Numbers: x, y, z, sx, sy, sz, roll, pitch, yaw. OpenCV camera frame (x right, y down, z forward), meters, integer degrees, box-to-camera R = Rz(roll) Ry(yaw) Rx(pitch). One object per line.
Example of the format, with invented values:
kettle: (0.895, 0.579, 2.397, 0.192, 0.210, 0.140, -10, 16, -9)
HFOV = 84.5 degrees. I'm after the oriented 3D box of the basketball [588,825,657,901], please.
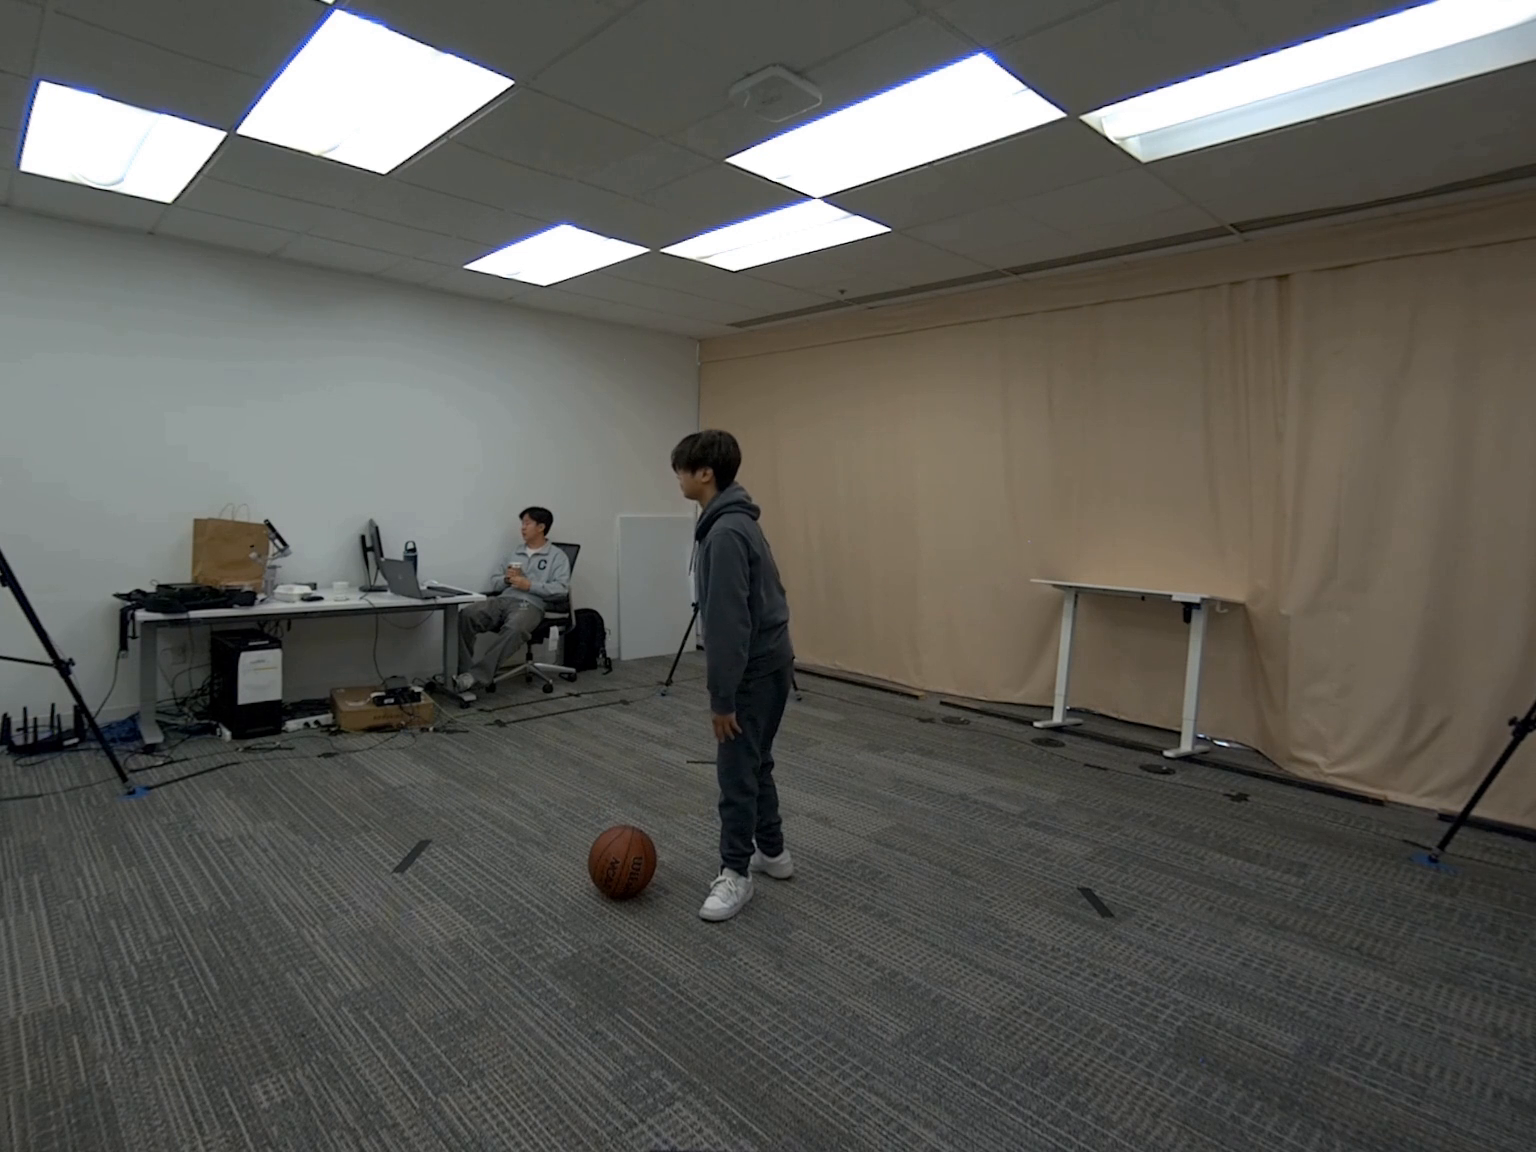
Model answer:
basketball: (-0.517, 0.992, 2.934, 0.236, 0.235, 0.237, 1, 4, -1)
